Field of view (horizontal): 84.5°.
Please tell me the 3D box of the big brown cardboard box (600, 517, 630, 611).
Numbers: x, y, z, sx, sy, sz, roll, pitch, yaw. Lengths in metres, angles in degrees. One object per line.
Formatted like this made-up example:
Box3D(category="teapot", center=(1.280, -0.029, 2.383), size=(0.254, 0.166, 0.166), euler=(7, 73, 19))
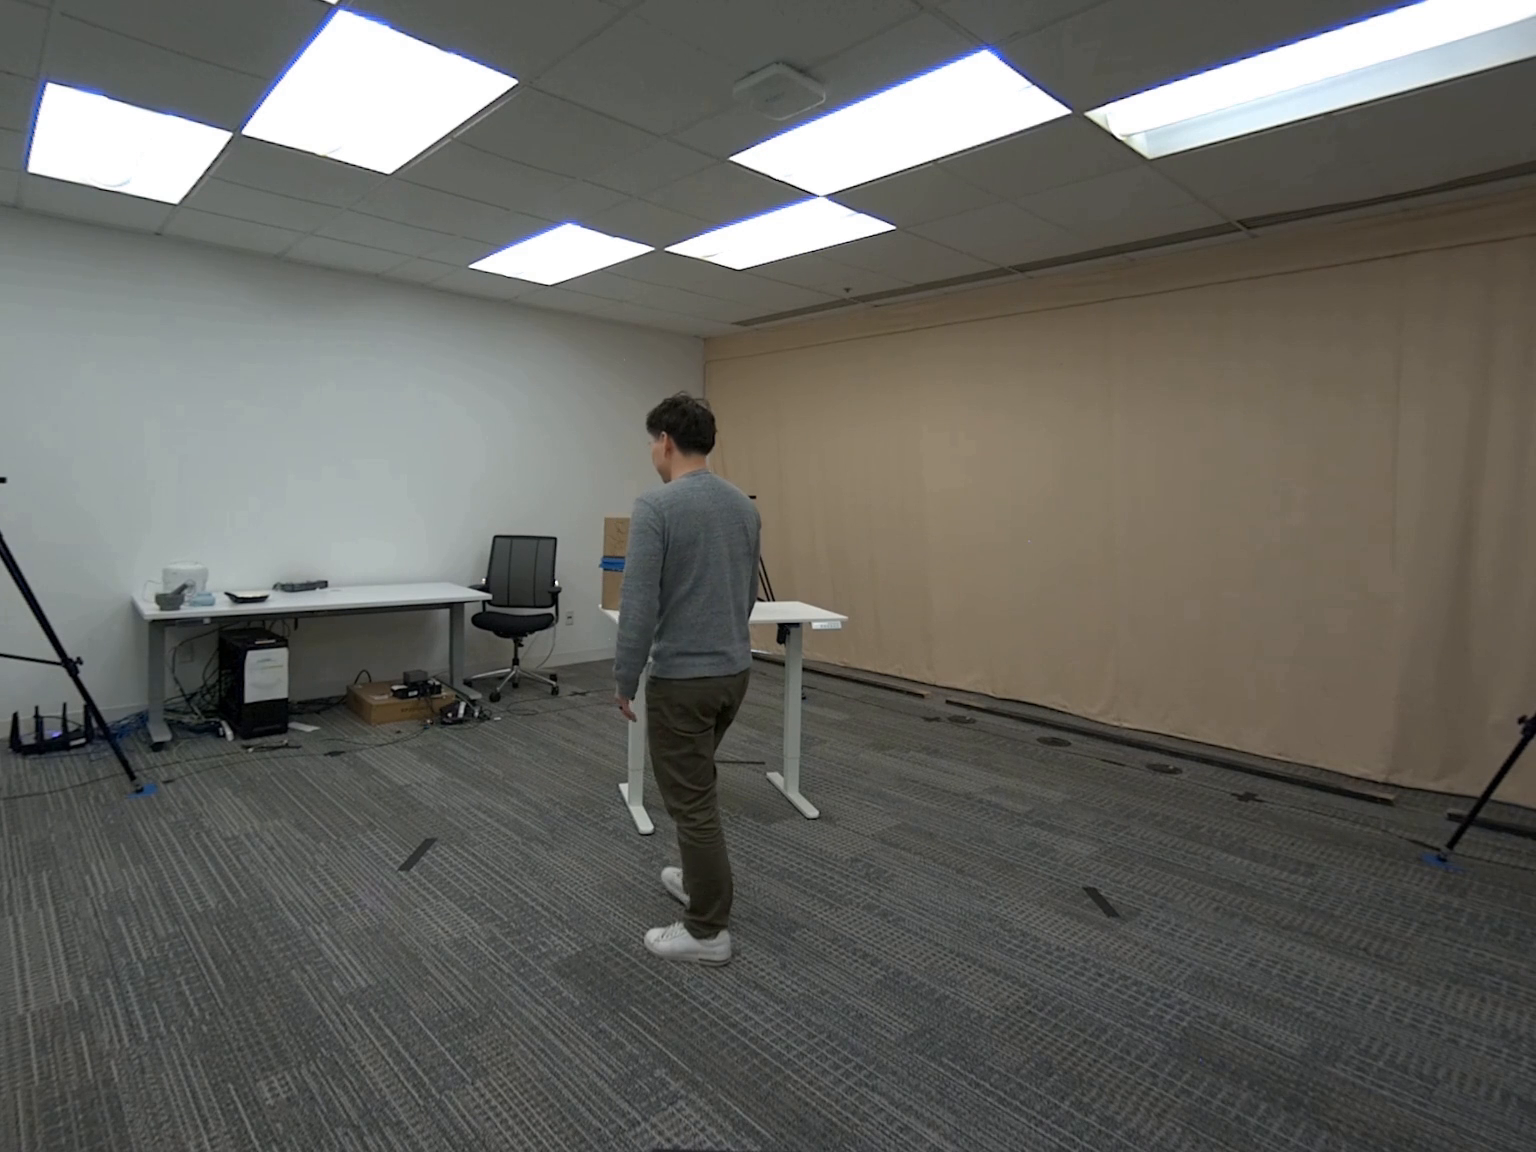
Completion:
Box3D(category="big brown cardboard box", center=(-0.433, -0.044, 3.716), size=(0.601, 0.417, 0.229), euler=(3, 3, 28))
